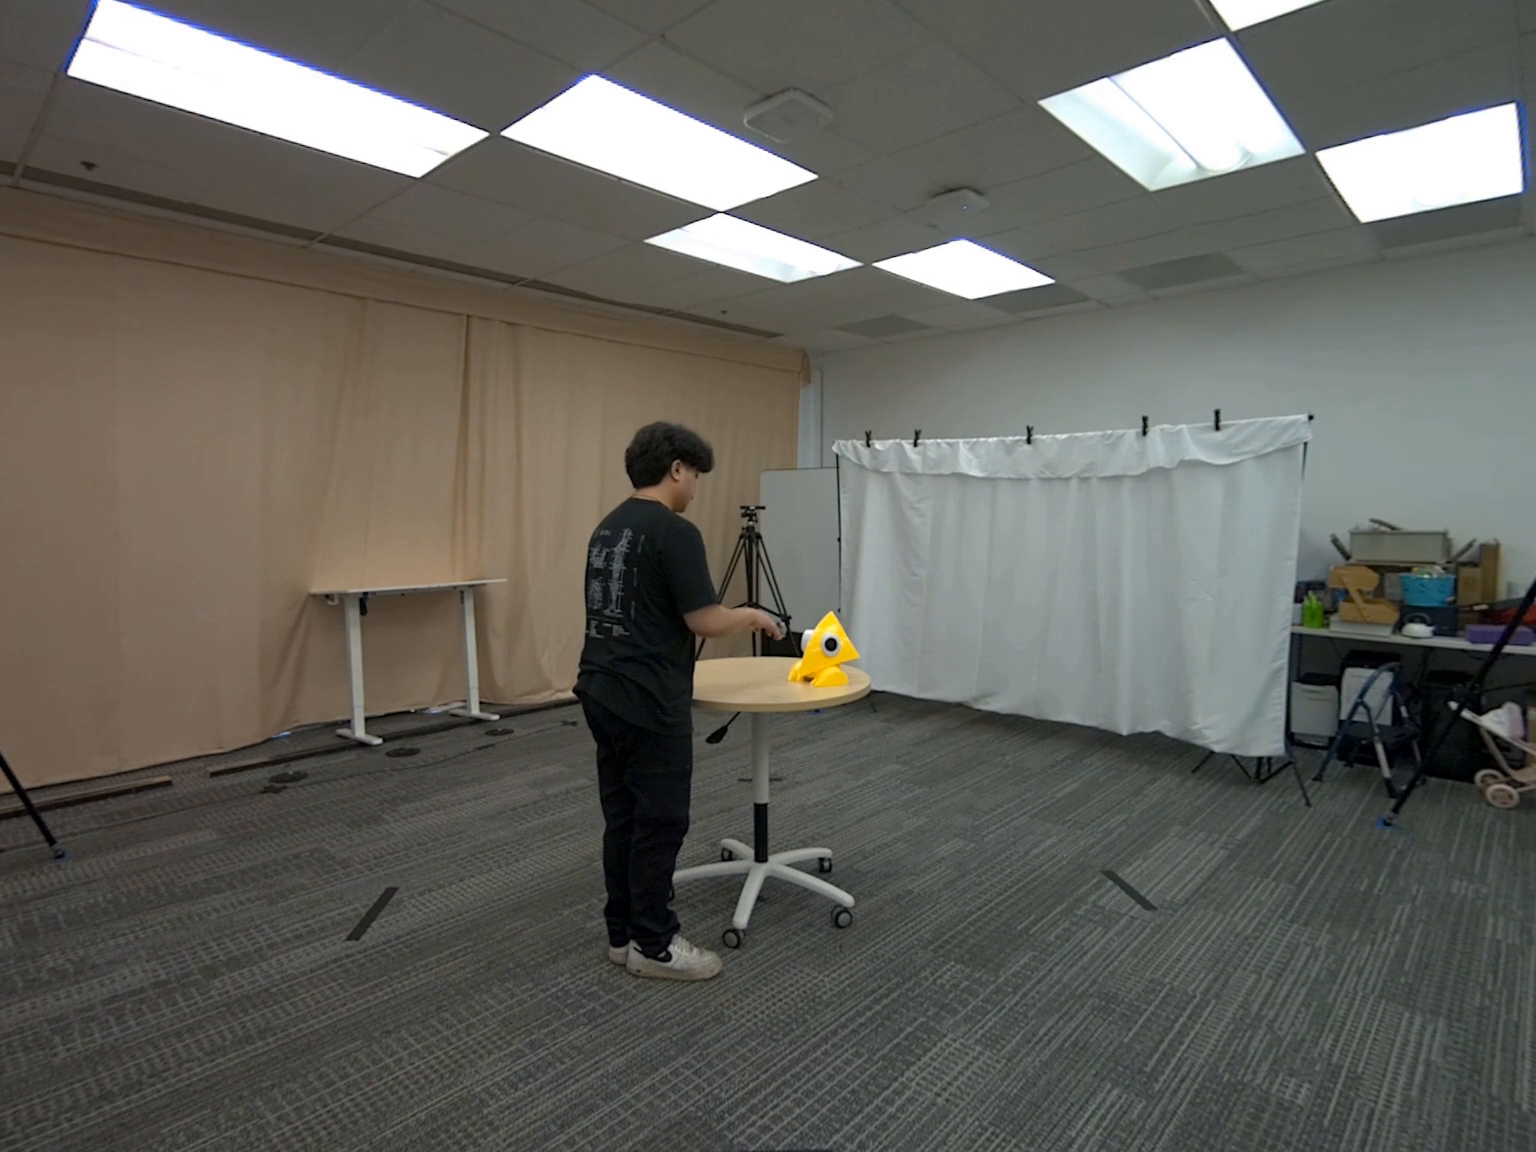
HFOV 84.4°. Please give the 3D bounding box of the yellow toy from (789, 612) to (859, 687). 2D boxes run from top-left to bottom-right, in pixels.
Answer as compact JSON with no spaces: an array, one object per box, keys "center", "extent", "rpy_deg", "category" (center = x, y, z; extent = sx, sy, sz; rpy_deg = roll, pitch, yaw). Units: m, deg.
[{"center":[0.183,0.243,2.878],"extent":[0.187,0.230,0.211],"rpy_deg":[-4,5,-40],"category":"yellow toy"}]
